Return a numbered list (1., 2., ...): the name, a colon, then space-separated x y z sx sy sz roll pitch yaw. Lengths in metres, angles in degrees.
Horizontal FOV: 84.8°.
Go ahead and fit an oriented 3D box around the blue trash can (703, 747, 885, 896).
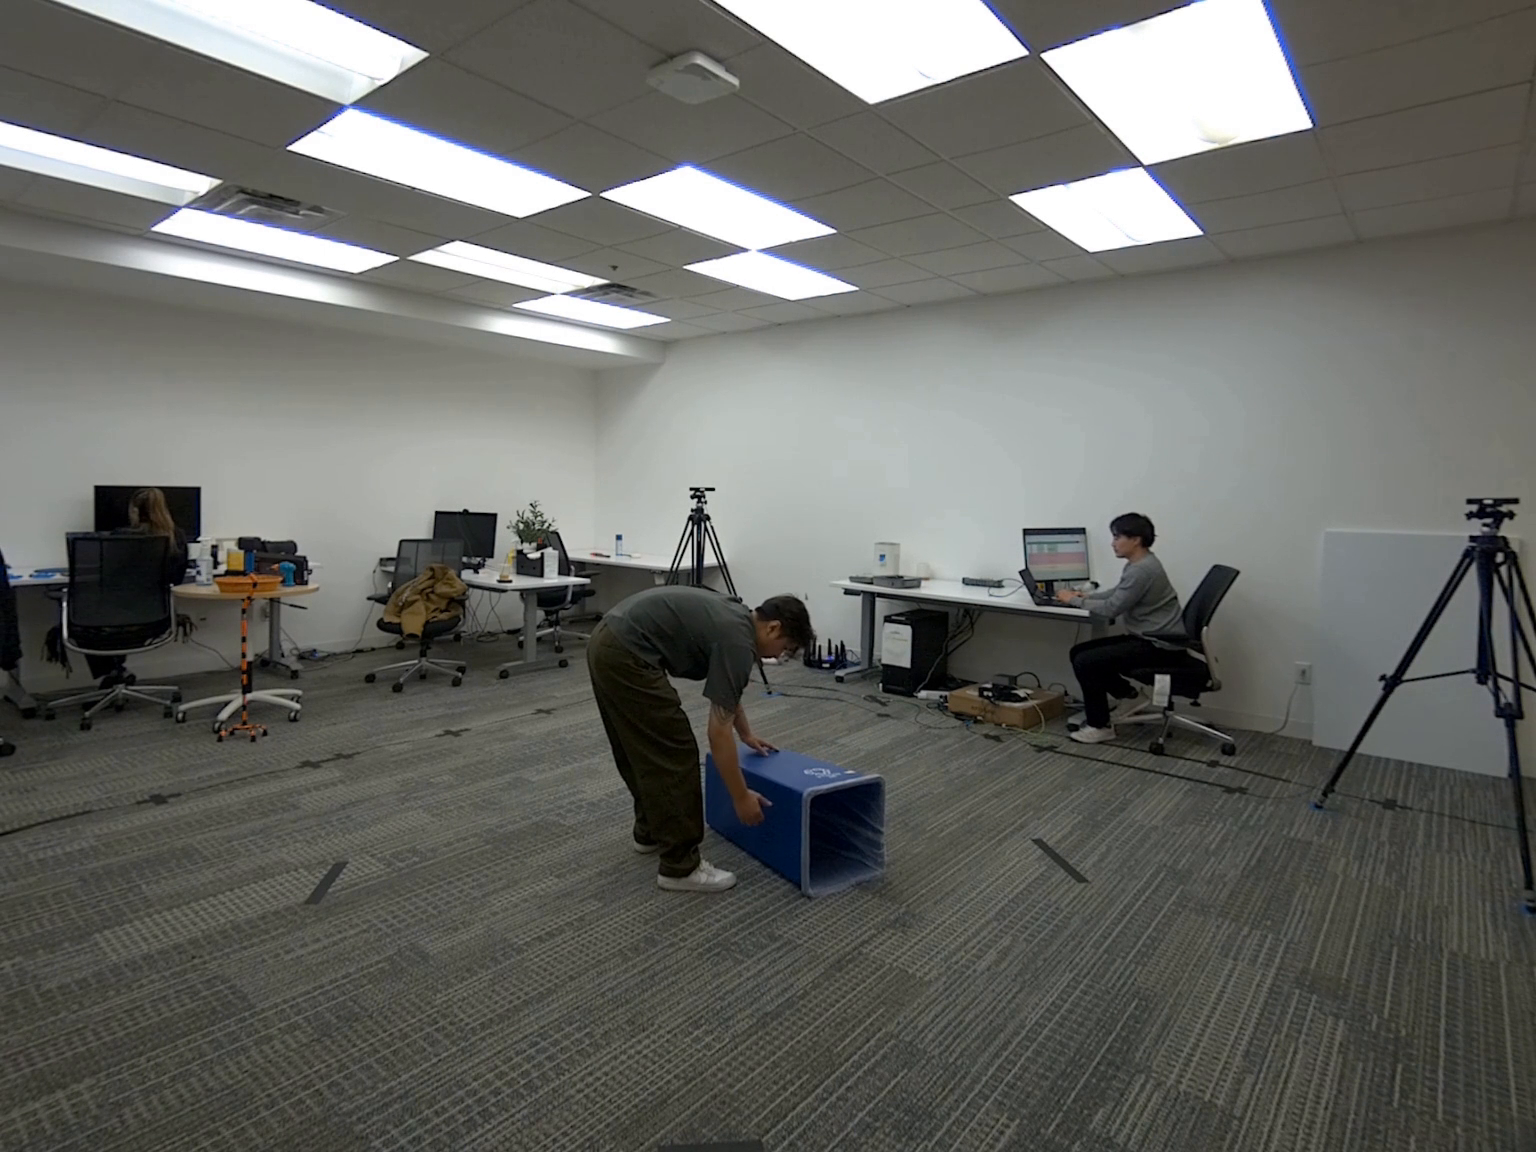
1. blue trash can: 0.065 0.895 3.277 0.367 0.373 0.735 -2 3 -34
